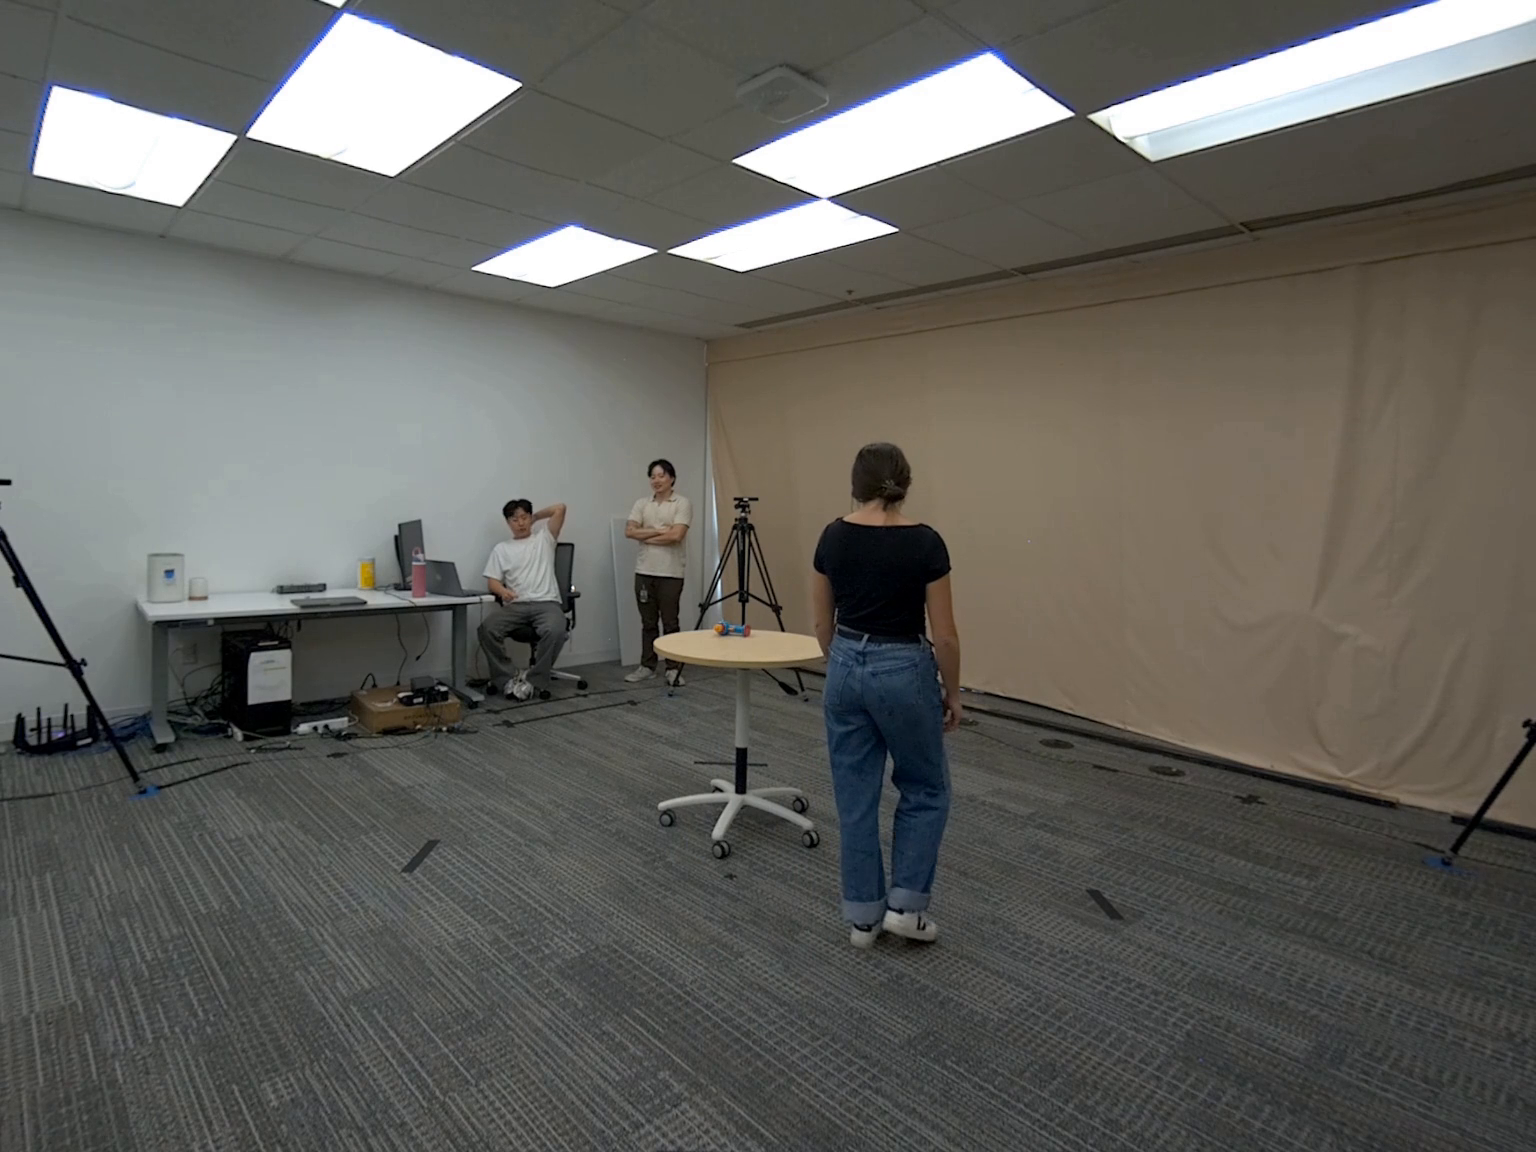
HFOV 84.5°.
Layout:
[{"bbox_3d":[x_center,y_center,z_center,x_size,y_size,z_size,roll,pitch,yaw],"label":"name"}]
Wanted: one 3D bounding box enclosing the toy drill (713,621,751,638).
[{"bbox_3d":[-0.185,0.240,3.752,0.148,0.061,0.166,5,-2,21],"label":"toy drill"}]
